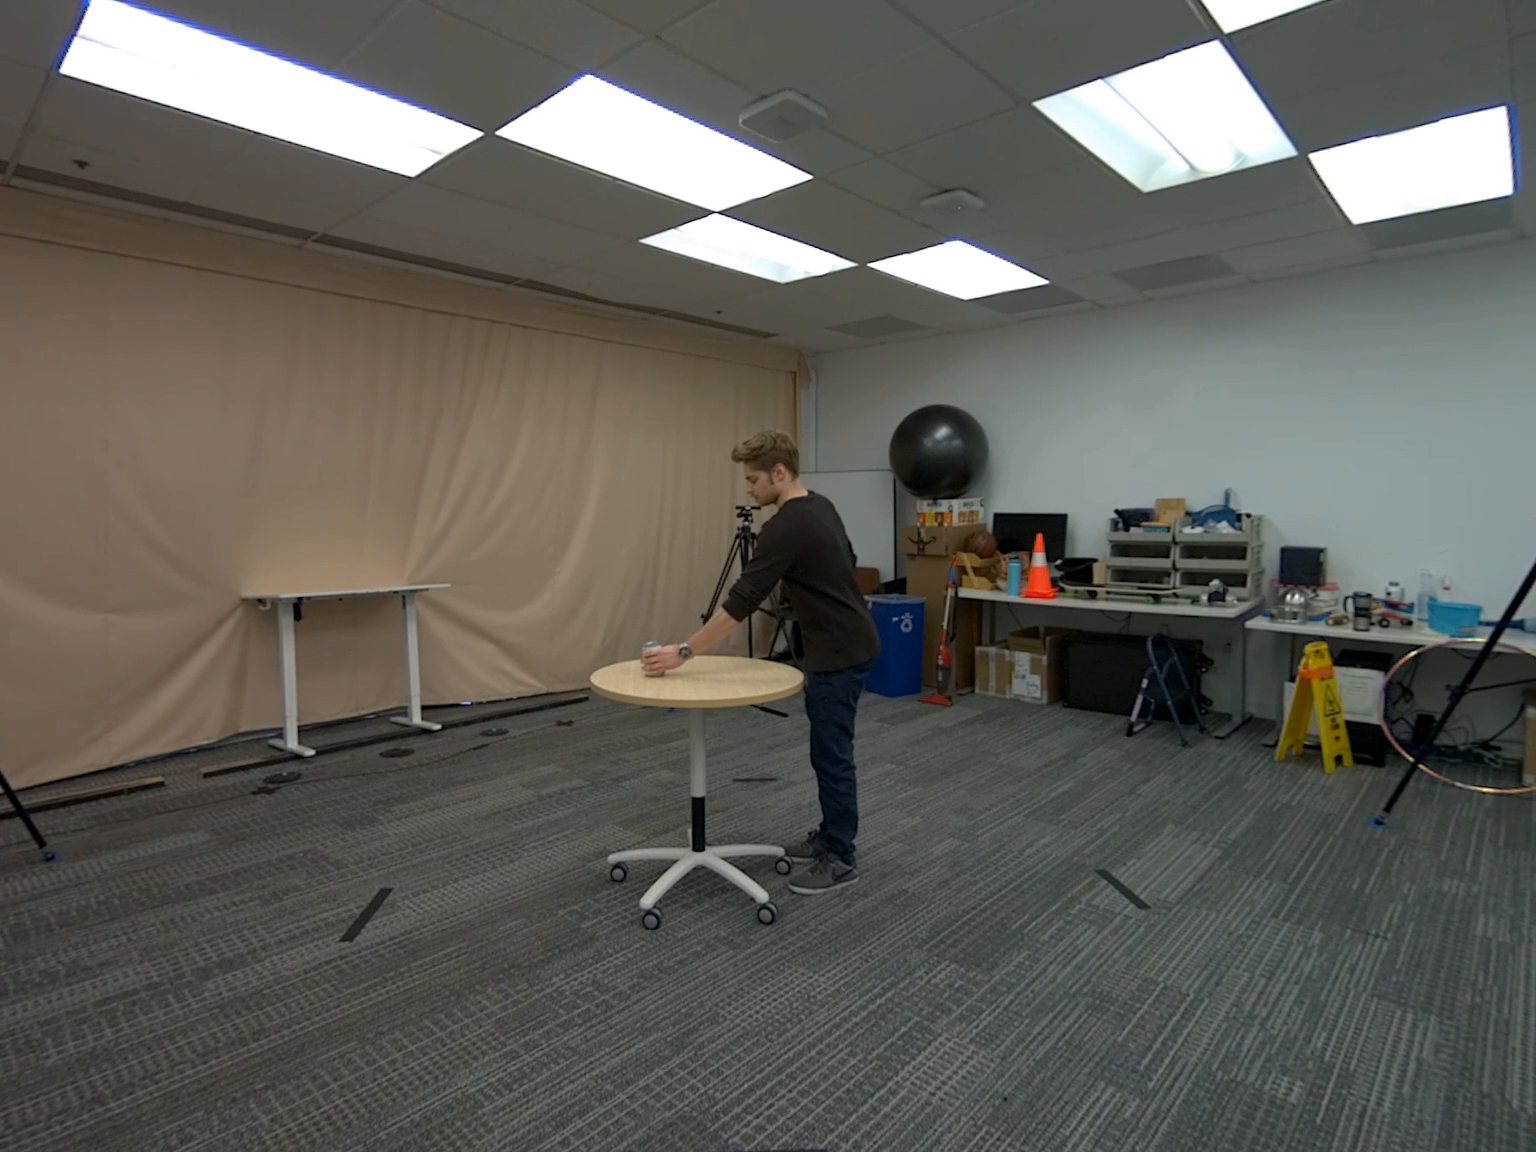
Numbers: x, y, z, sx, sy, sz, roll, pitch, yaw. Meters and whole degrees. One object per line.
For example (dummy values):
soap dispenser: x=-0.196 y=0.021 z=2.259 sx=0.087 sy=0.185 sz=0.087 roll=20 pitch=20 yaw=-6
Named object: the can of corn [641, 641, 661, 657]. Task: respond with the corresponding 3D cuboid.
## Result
can of corn: x=-0.407 y=0.299 z=3.026 sx=0.074 sy=0.111 sz=0.074 roll=-4 pitch=4 yaw=-2
